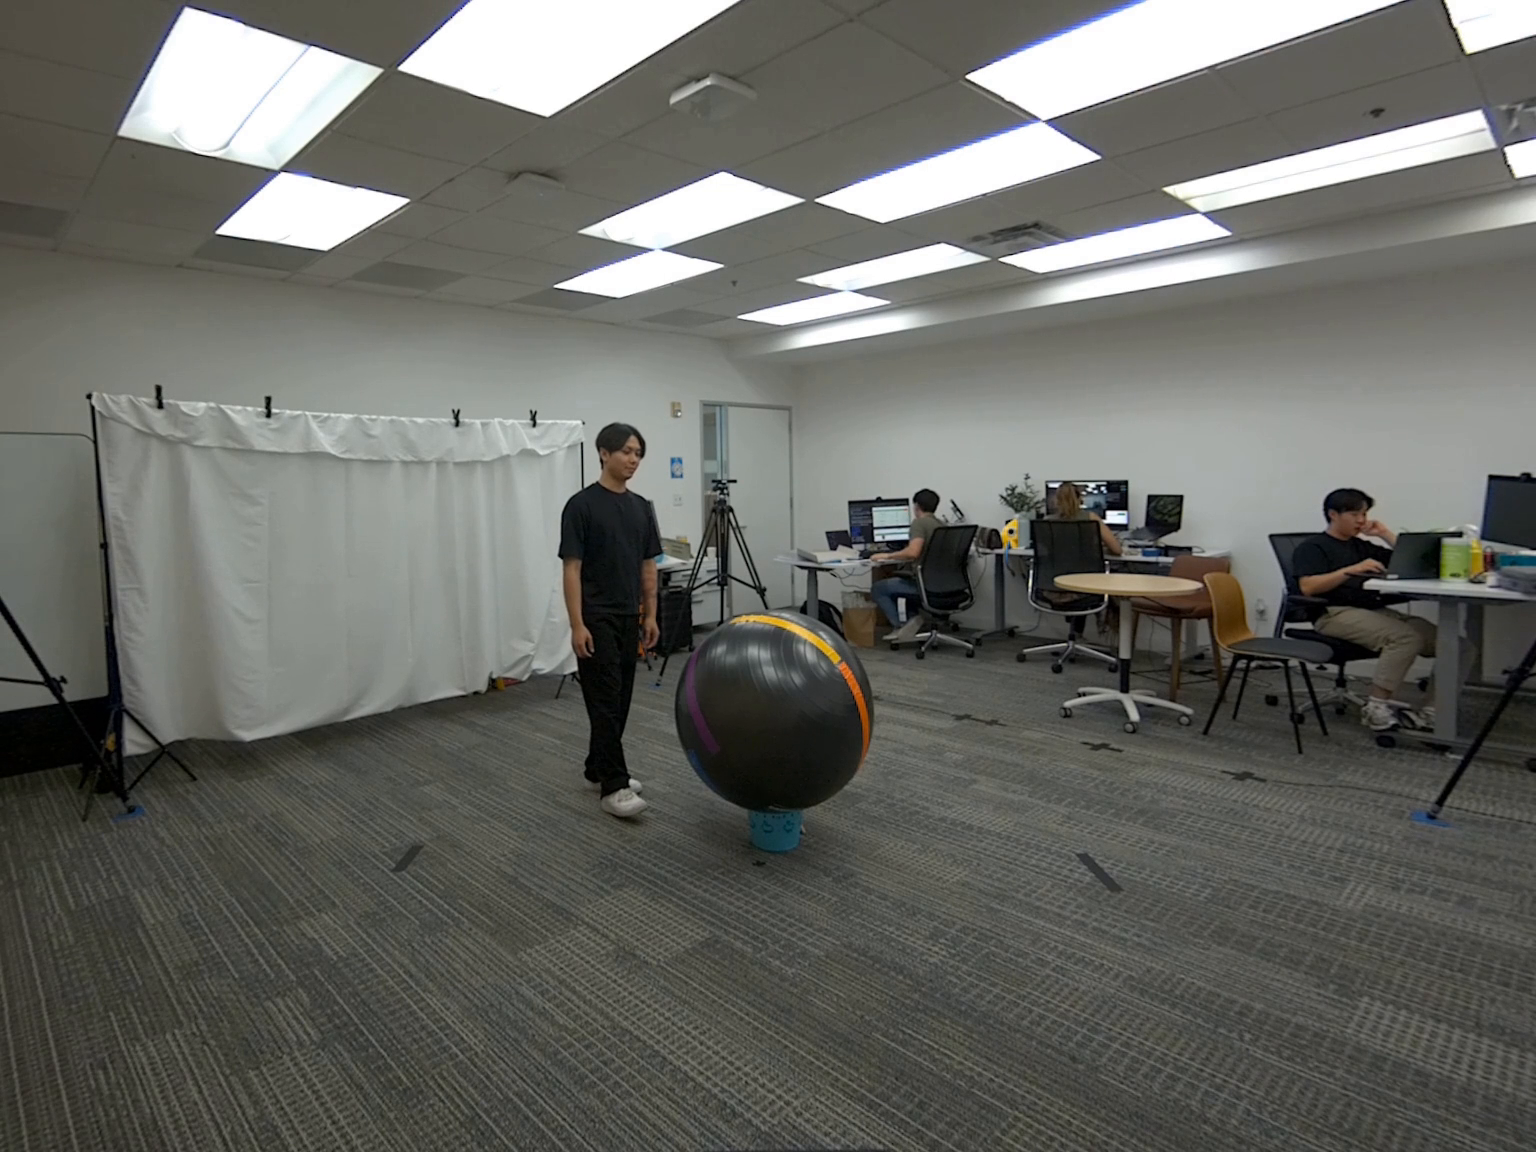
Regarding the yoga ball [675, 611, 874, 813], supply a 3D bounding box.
[{"bbox_3d":[0.022,0.513,3.278,0.757,0.755,0.762,-1,5,-2],"label":"yoga ball"}]
